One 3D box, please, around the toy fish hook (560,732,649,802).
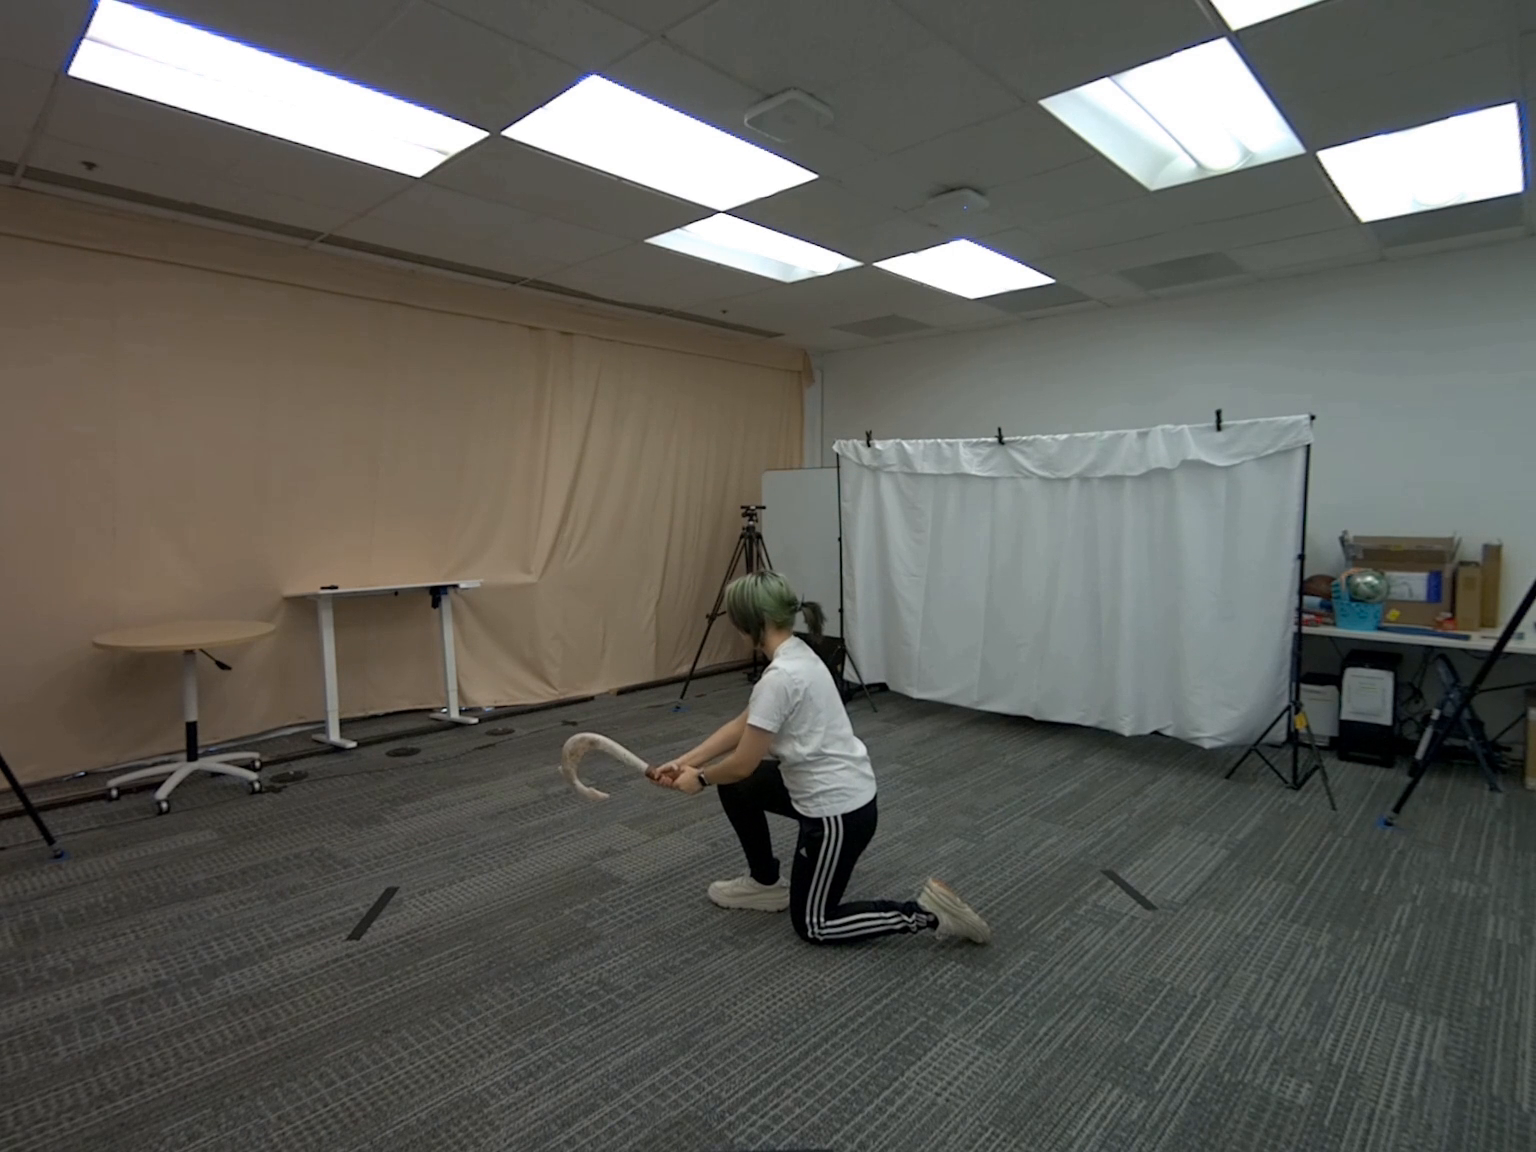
[{"bbox_3d":[-0.470,0.692,2.859,0.514,0.224,0.048,15,9,12],"label":"toy fish hook"}]
